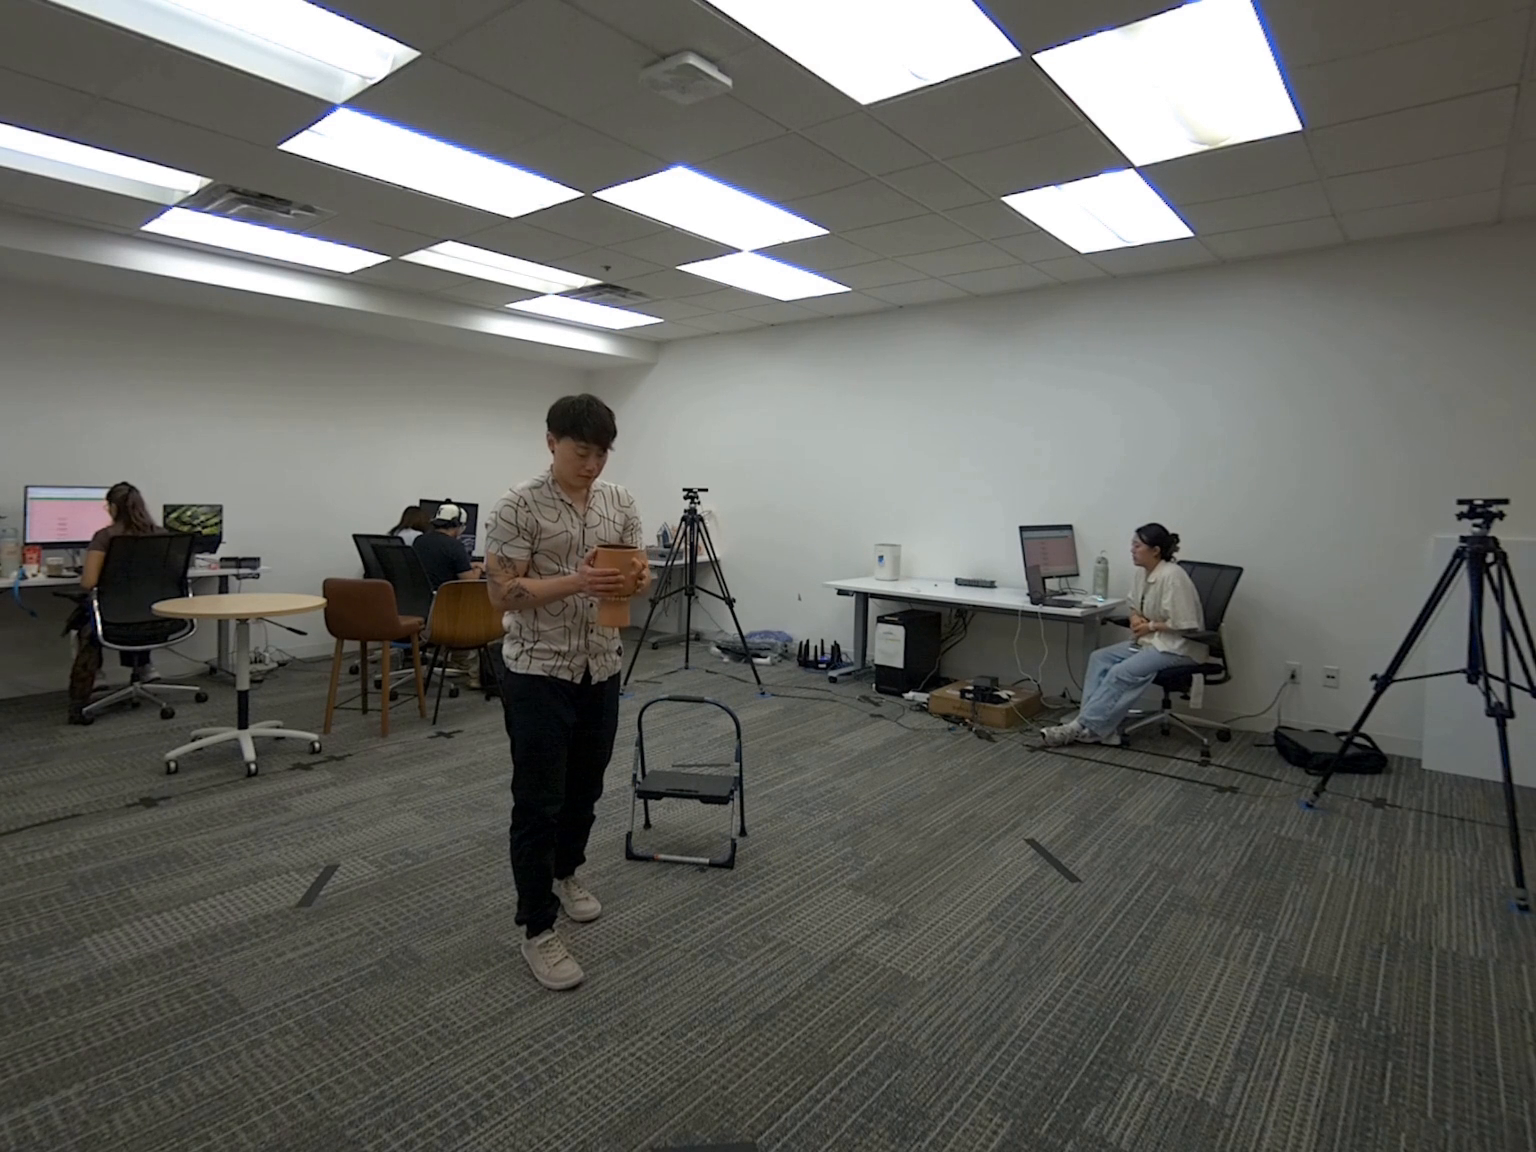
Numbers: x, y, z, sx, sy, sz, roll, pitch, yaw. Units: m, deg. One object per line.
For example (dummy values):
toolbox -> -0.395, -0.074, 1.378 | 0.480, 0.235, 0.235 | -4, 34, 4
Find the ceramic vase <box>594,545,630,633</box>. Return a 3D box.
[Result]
ceramic vase -> -0.466, 0.028, 2.366 | 0.133, 0.218, 0.161 | 3, 7, -9
